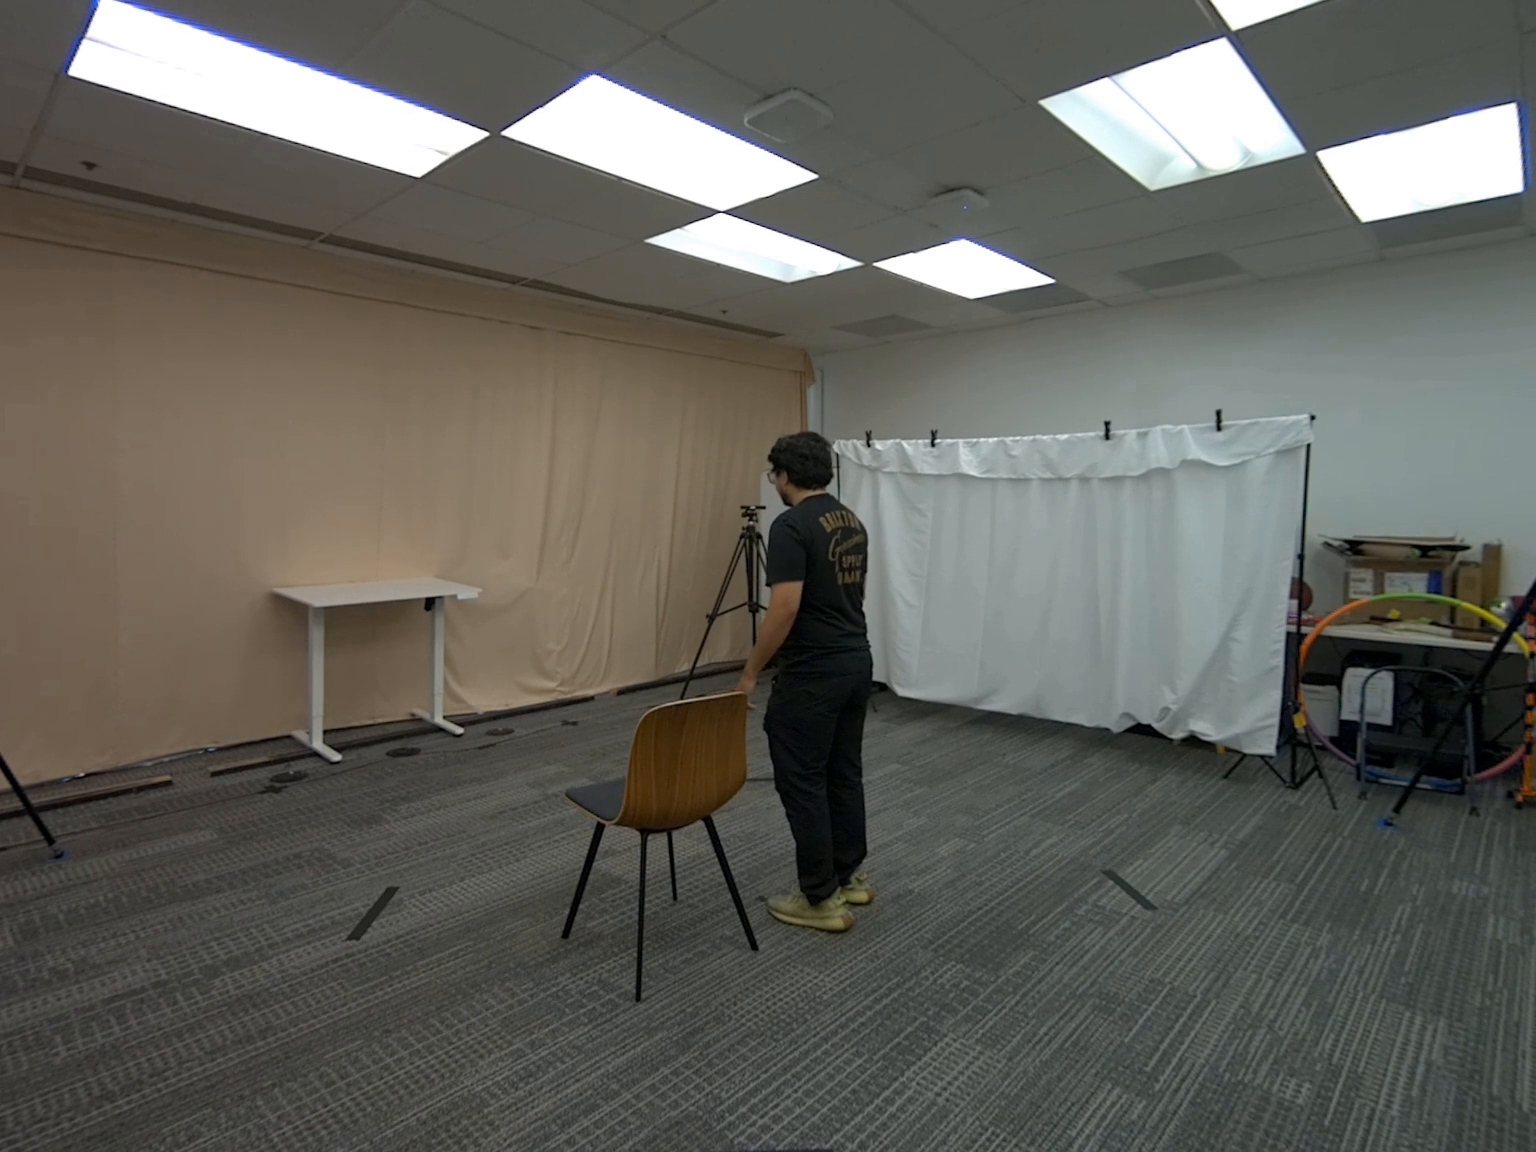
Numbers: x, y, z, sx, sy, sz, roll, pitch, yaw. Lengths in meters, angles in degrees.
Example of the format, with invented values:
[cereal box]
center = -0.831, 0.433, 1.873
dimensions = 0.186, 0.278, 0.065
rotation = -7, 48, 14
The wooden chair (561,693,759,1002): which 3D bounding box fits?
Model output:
[wooden chair]
center = -0.355, 0.747, 2.653
dimensions = 0.463, 0.874, 0.541
rotation = -3, 8, -40
